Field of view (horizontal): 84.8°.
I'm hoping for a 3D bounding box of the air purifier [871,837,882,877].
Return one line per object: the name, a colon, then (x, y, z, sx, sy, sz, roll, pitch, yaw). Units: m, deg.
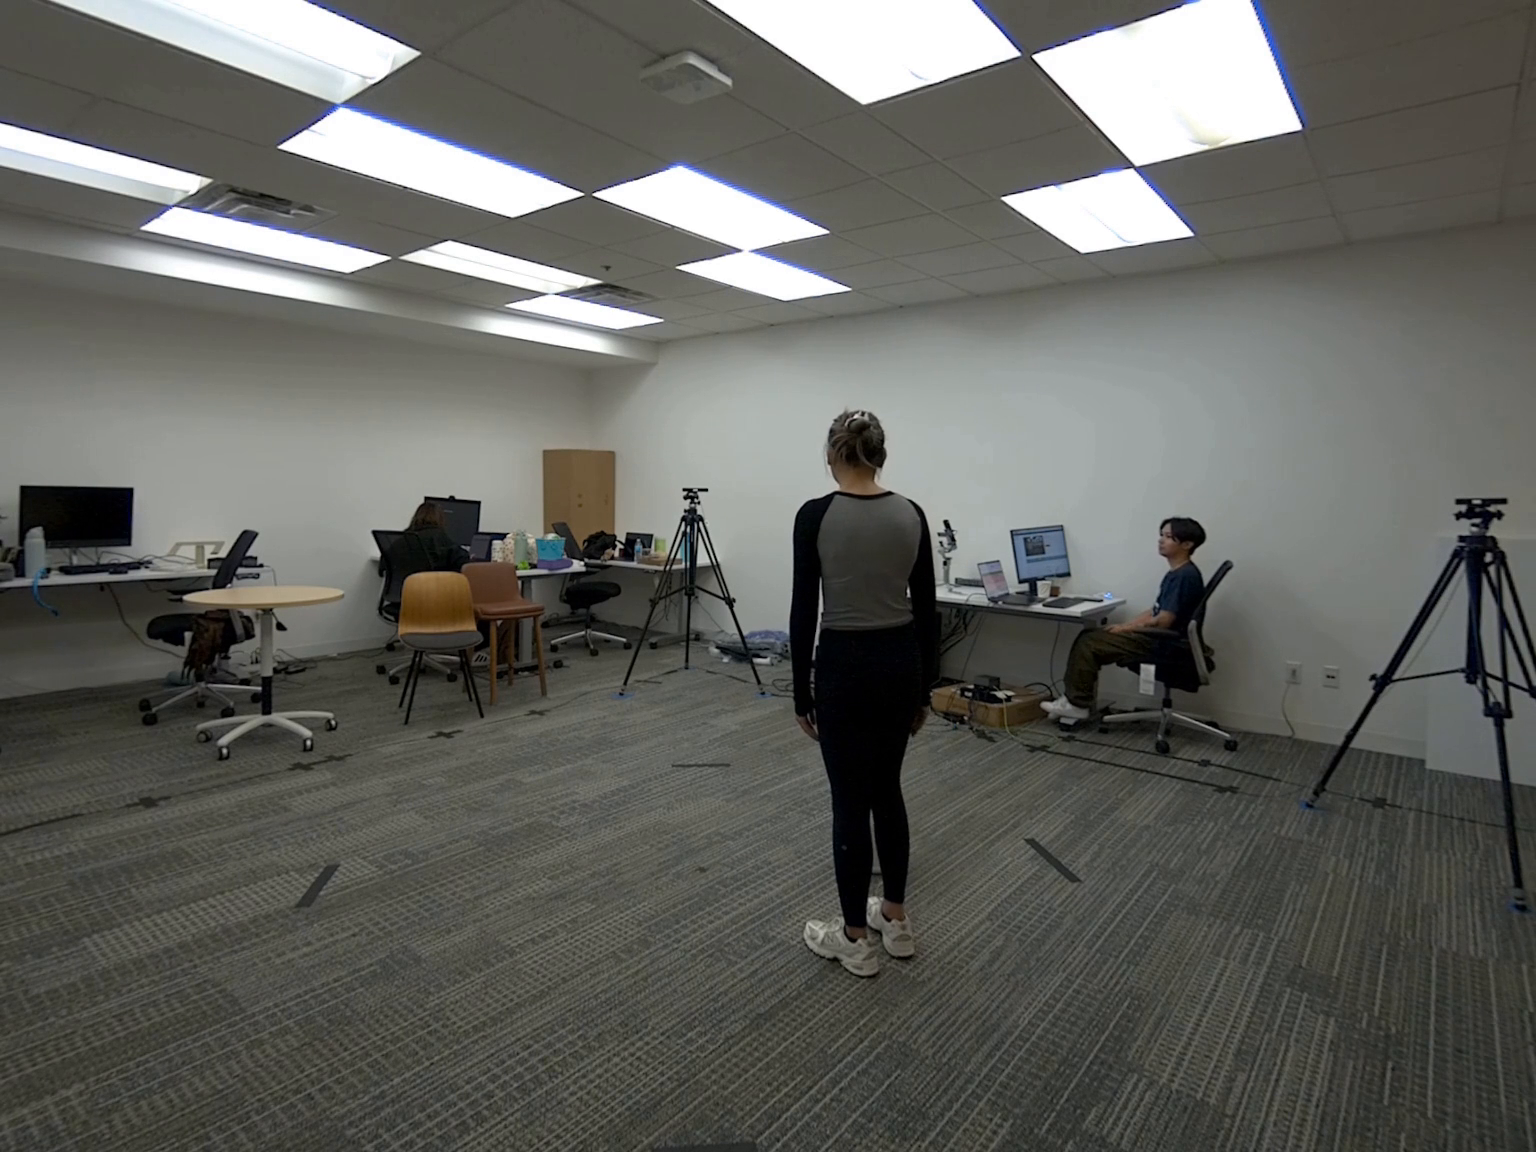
air purifier: (0.384, 0.936, 3.162, 0.172, 0.264, 0.171, 1, 3, 3)
